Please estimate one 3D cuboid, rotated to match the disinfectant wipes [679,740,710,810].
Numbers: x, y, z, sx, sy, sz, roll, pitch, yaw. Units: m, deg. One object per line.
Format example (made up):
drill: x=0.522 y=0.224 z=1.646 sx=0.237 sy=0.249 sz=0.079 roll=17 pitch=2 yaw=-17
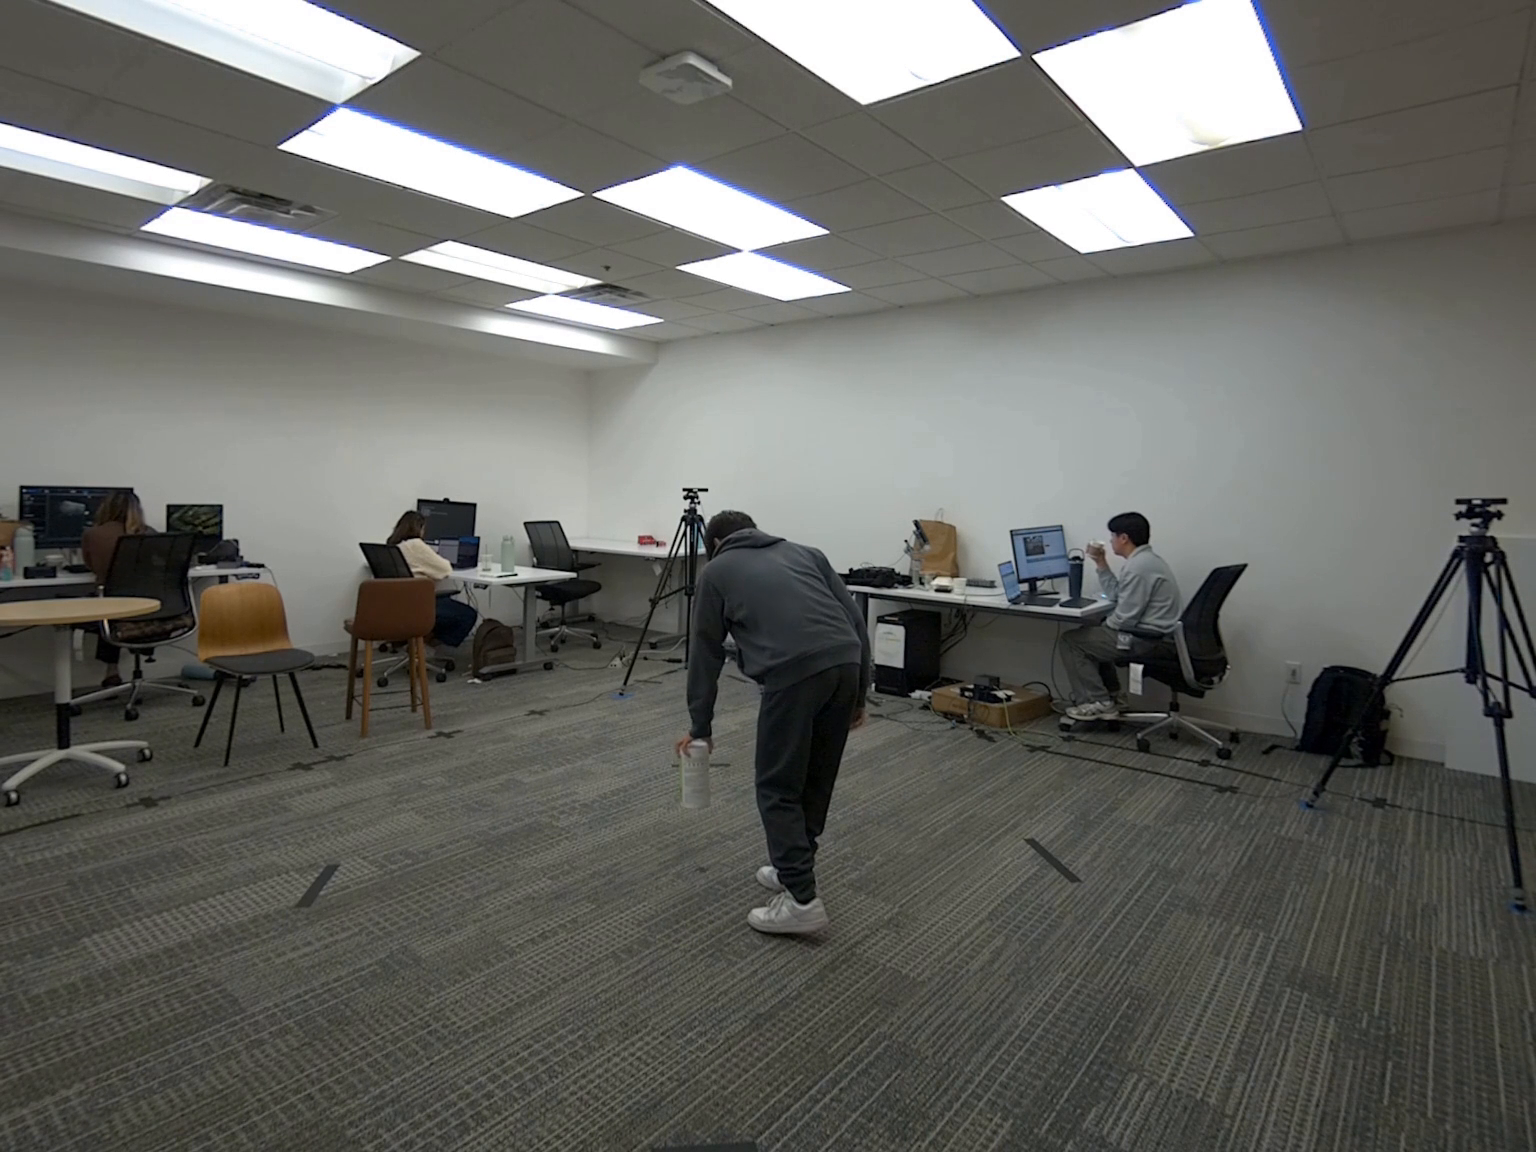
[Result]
disinfectant wipes: x=-0.272 y=0.712 z=3.040 sx=0.118 sy=0.218 sz=0.118 roll=1 pitch=0 yaw=-2
